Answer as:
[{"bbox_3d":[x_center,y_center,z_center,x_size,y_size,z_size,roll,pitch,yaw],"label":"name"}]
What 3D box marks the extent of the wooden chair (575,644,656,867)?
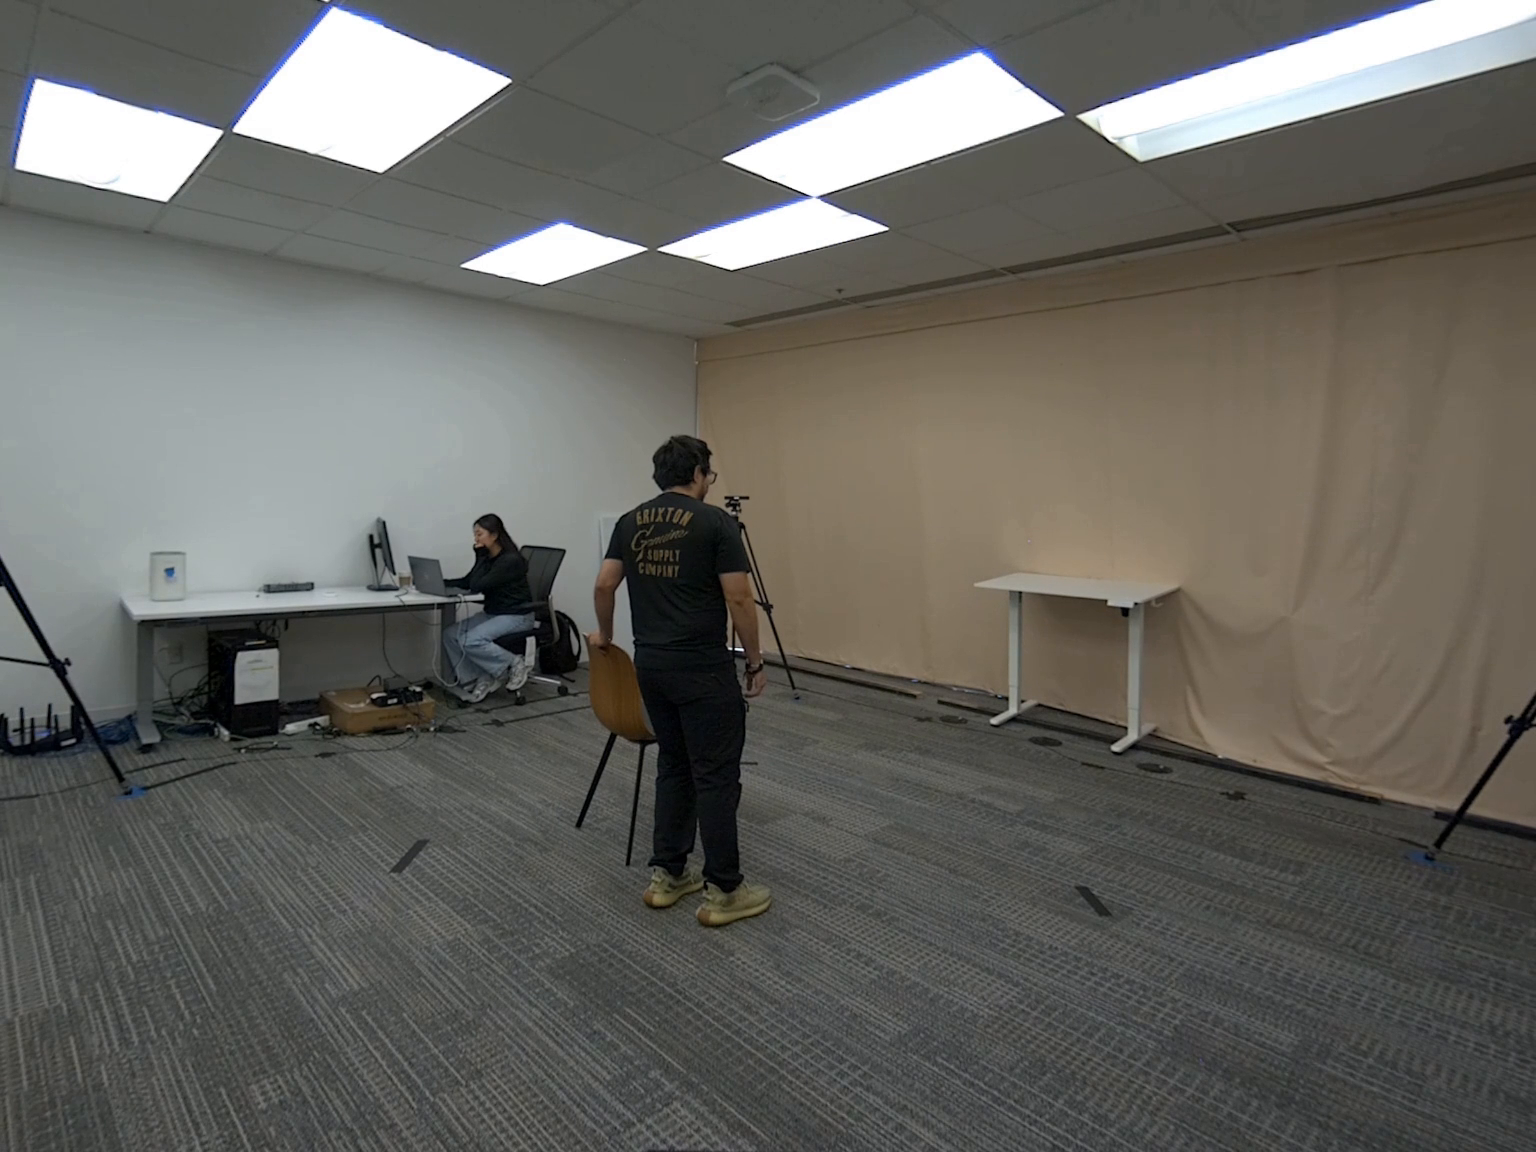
[{"bbox_3d":[-0.480,0.640,3.450,0.512,0.873,0.490,-6,8,-37],"label":"wooden chair"}]
